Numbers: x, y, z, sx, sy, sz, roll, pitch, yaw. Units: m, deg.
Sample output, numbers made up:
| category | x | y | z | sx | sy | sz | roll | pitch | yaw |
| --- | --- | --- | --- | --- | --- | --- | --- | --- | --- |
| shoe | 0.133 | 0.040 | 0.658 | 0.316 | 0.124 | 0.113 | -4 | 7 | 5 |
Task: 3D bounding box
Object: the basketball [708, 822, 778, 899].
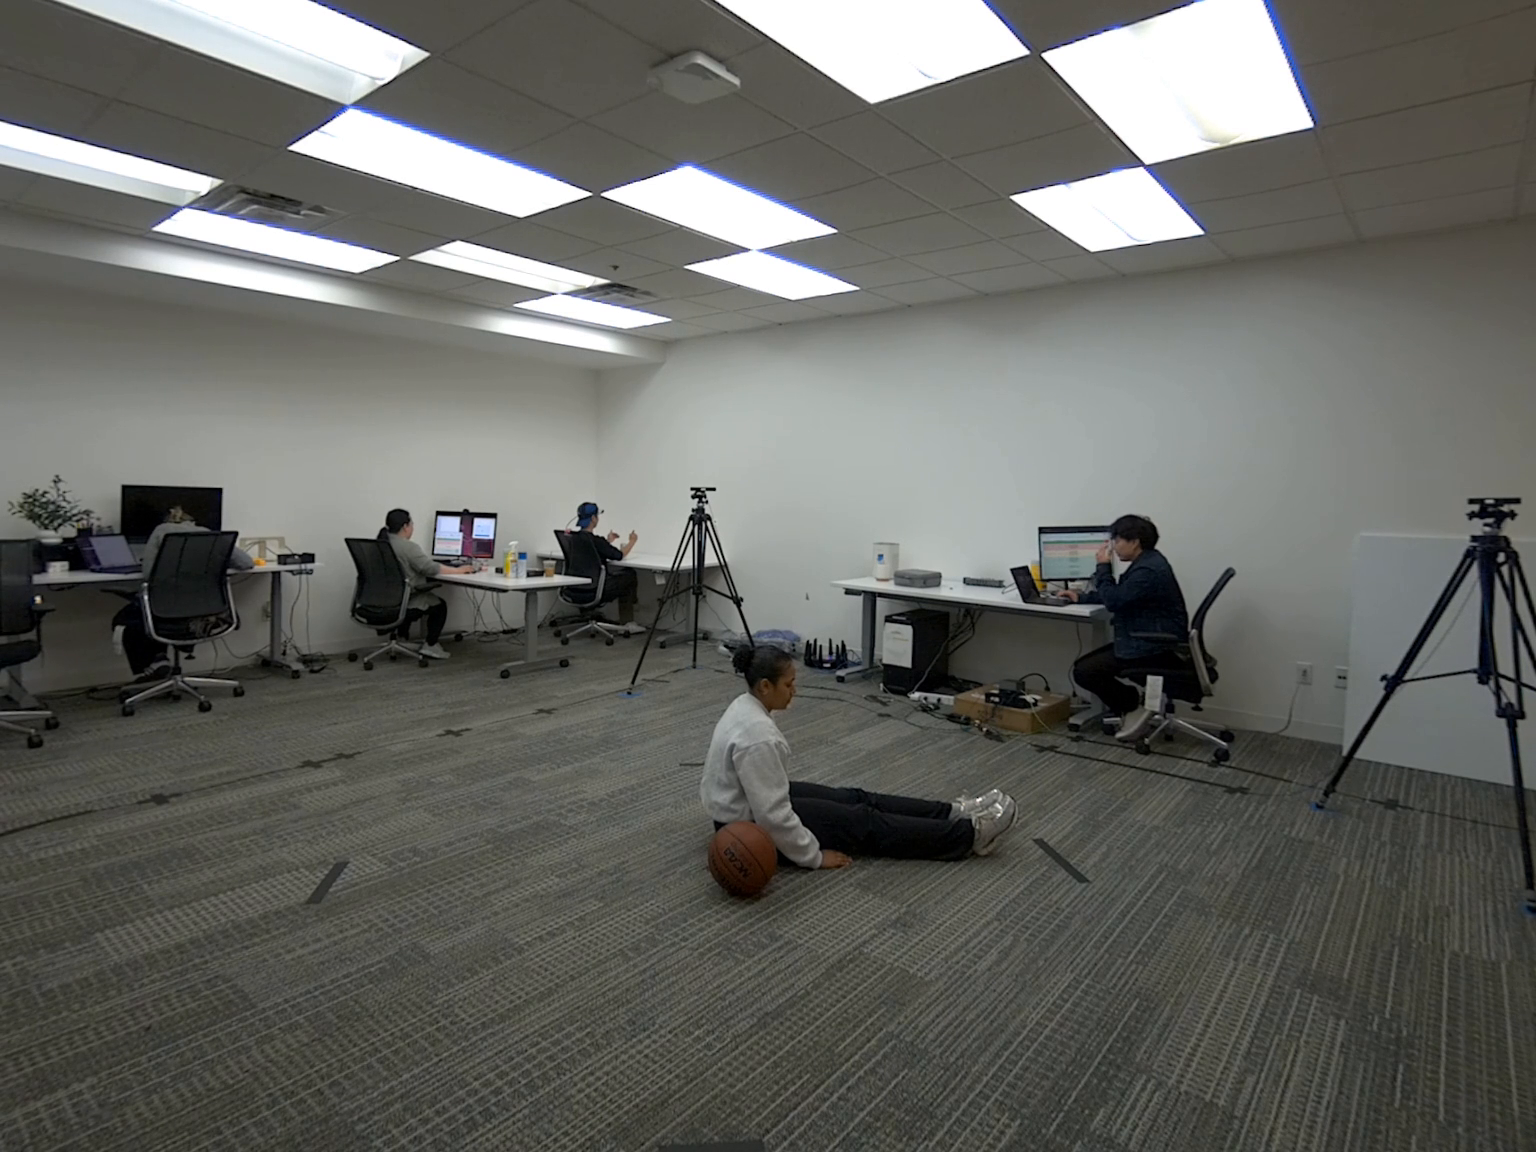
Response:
| category | x | y | z | sx | sy | sz | roll | pitch | yaw |
| --- | --- | --- | --- | --- | --- | --- | --- | --- | --- |
| basketball | -0.095 | 0.962 | 2.931 | 0.235 | 0.235 | 0.237 | 1 | 4 | -2 |
